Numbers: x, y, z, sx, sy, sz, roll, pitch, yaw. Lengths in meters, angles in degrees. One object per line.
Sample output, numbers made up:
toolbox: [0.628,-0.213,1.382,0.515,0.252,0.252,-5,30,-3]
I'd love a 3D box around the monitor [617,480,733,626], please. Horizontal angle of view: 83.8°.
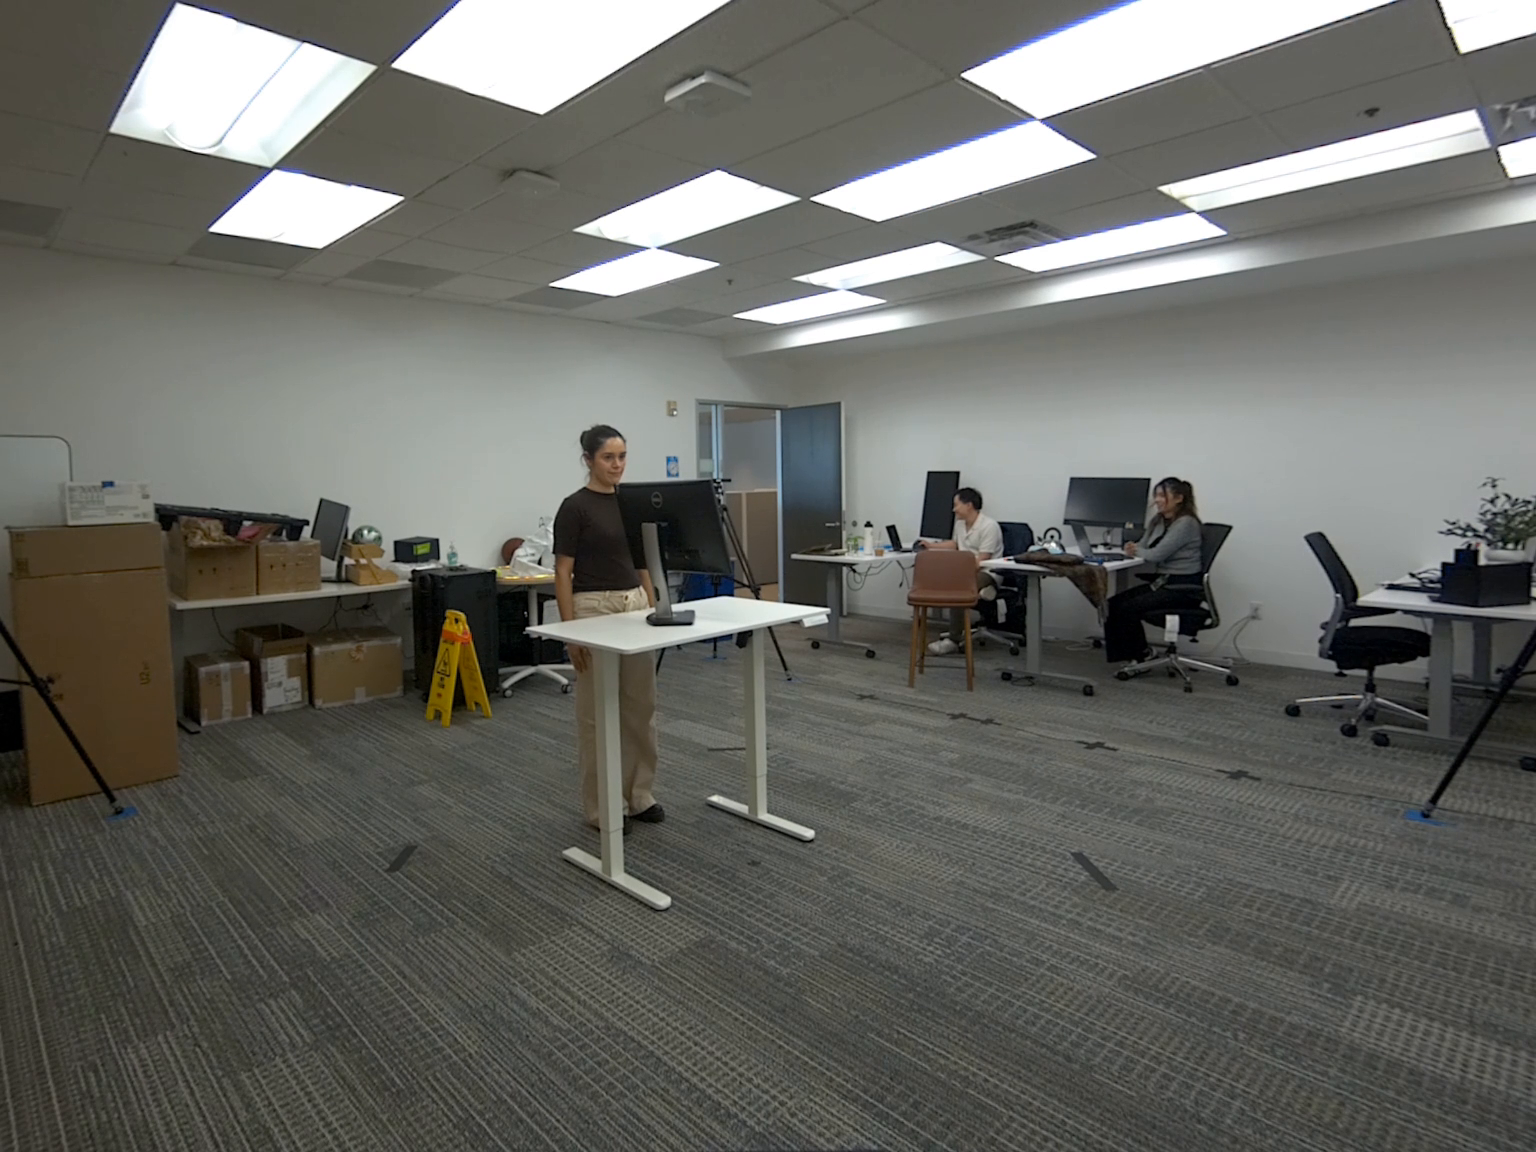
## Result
monitor: [-0.379,-0.090,3.159,0.555,0.521,0.182,1,4,39]
